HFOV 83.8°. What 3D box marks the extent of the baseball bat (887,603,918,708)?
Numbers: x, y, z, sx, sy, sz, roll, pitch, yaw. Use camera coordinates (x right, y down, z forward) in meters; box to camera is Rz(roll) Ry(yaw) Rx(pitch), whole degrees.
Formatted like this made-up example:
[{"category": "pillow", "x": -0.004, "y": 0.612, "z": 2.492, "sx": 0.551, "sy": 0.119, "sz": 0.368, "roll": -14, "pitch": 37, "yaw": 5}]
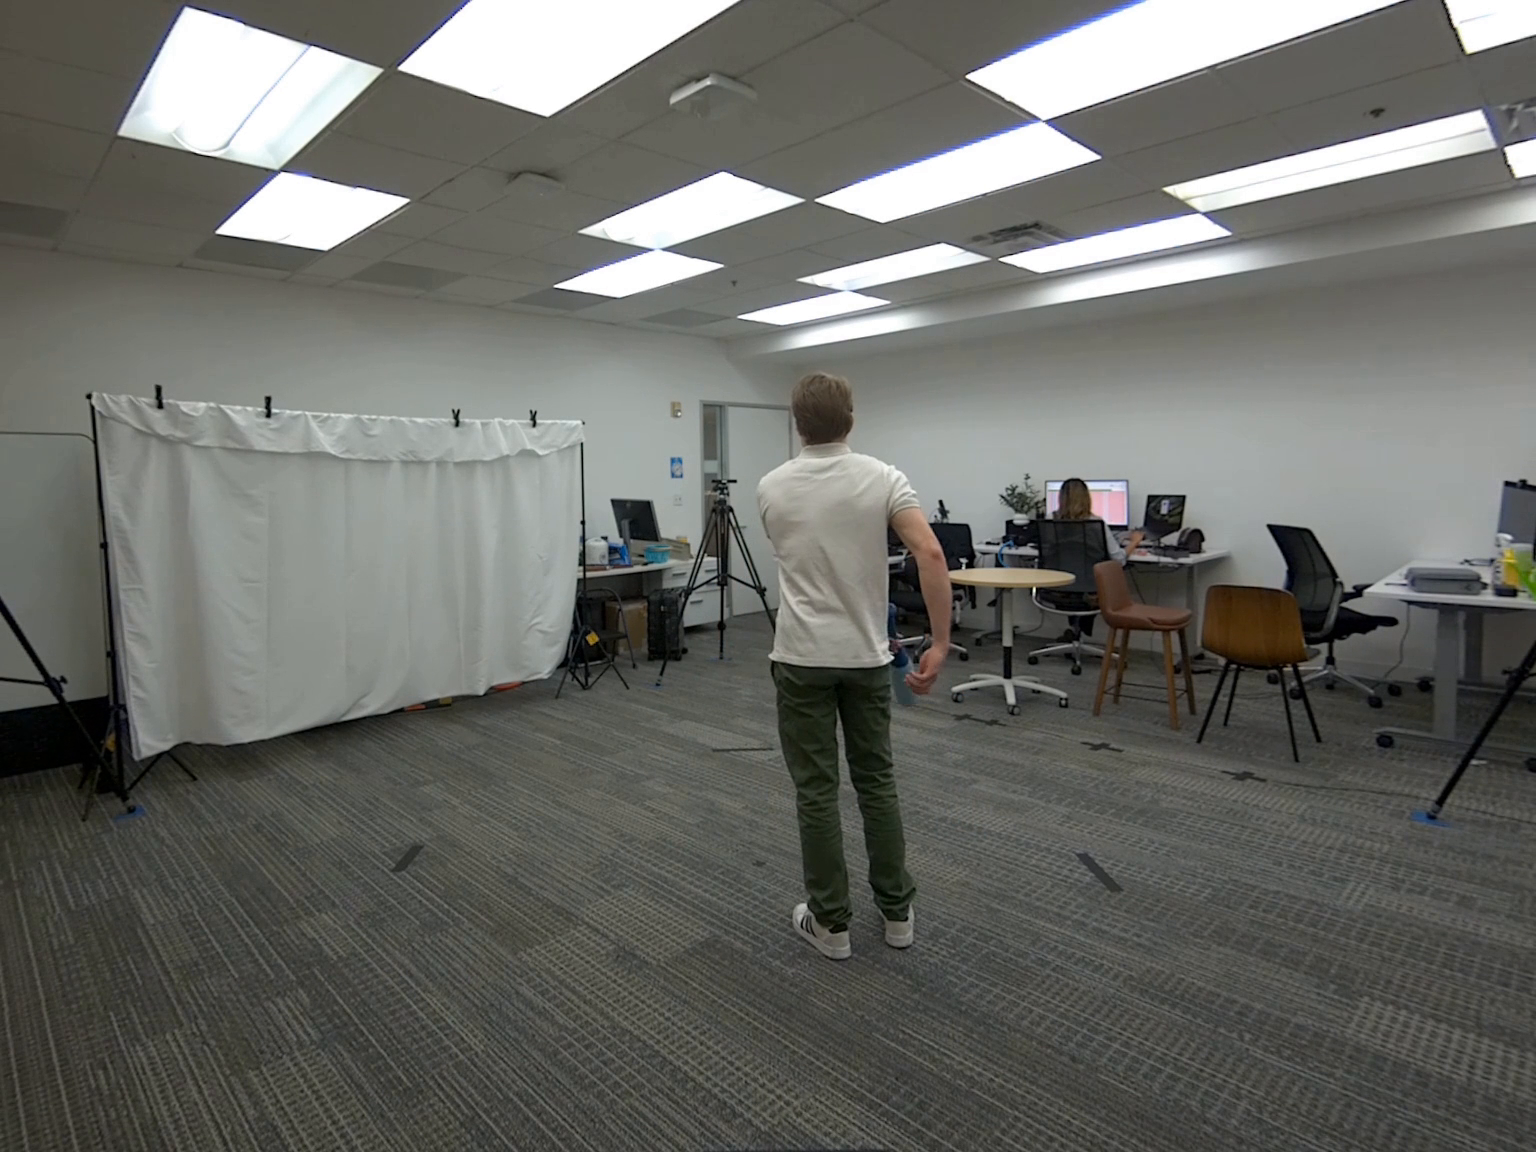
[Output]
[{"category": "baseball bat", "x": 0.434, "y": 0.274, "z": 2.851, "sx": 0.090, "sy": 0.091, "sz": 0.524, "roll": 1, "pitch": -39, "yaw": 16}]
